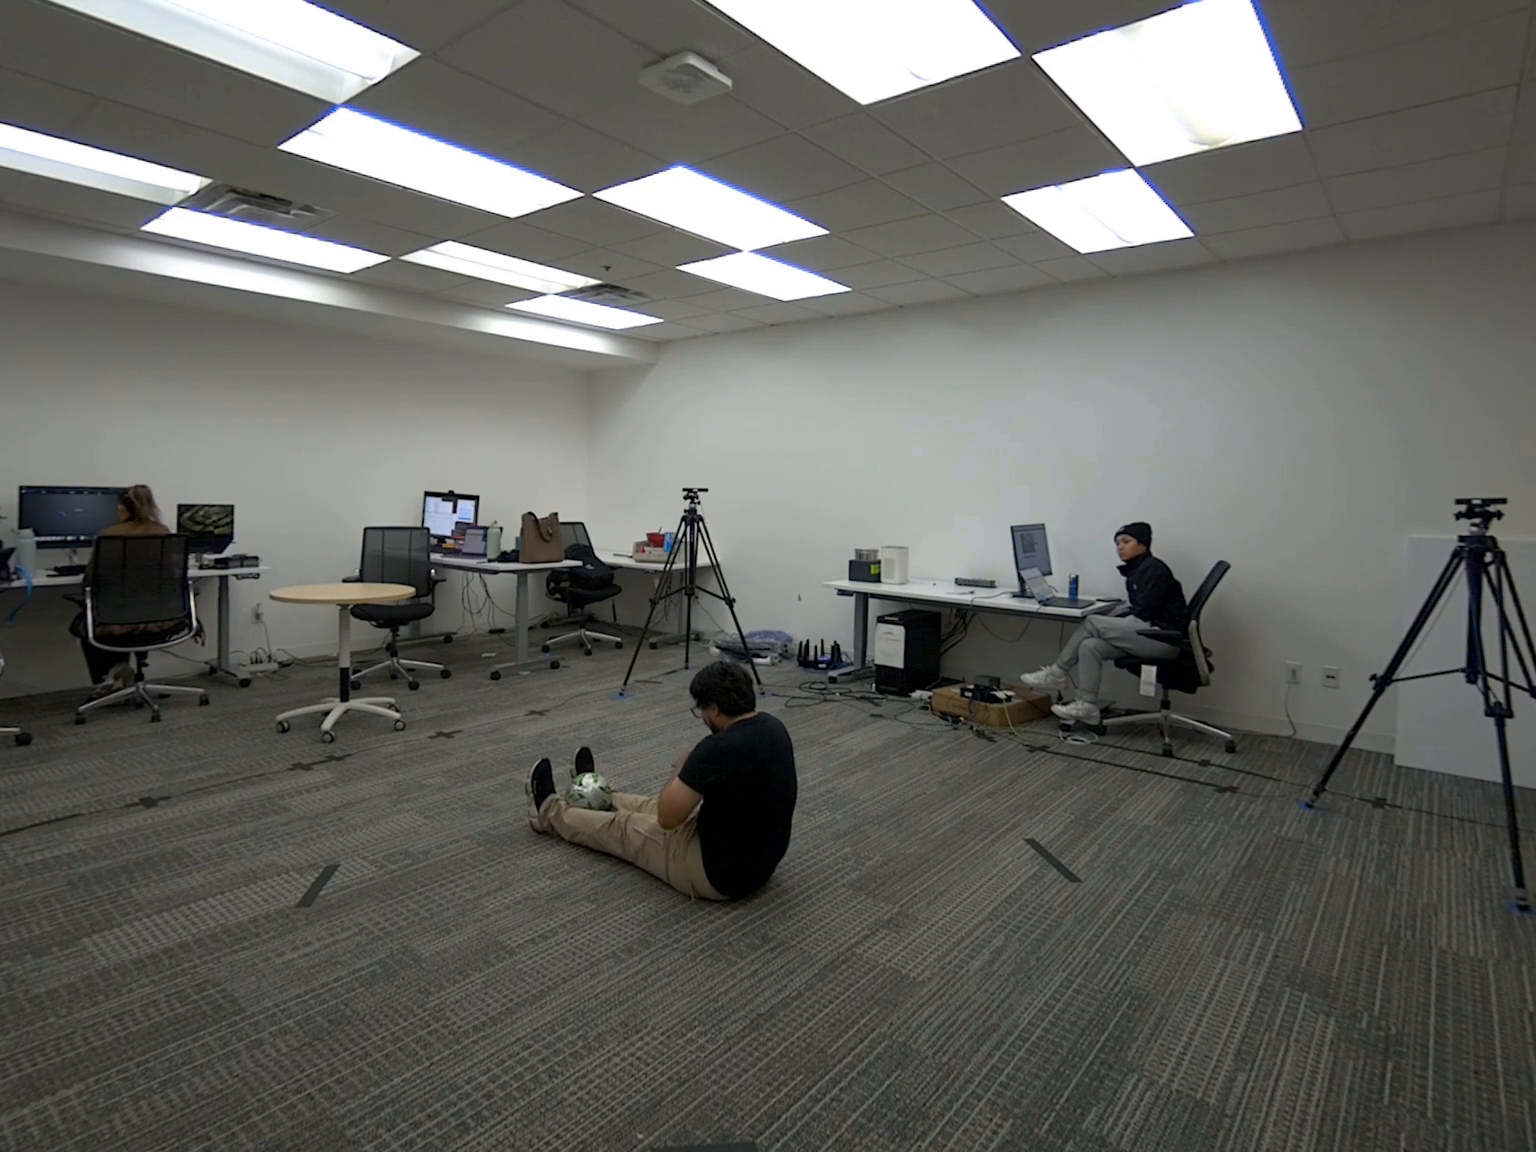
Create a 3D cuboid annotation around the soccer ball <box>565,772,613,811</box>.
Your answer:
[{"bbox_3d":[-0.738,0.886,3.423,0.187,0.187,0.188,0,4,-2],"label":"soccer ball"}]
